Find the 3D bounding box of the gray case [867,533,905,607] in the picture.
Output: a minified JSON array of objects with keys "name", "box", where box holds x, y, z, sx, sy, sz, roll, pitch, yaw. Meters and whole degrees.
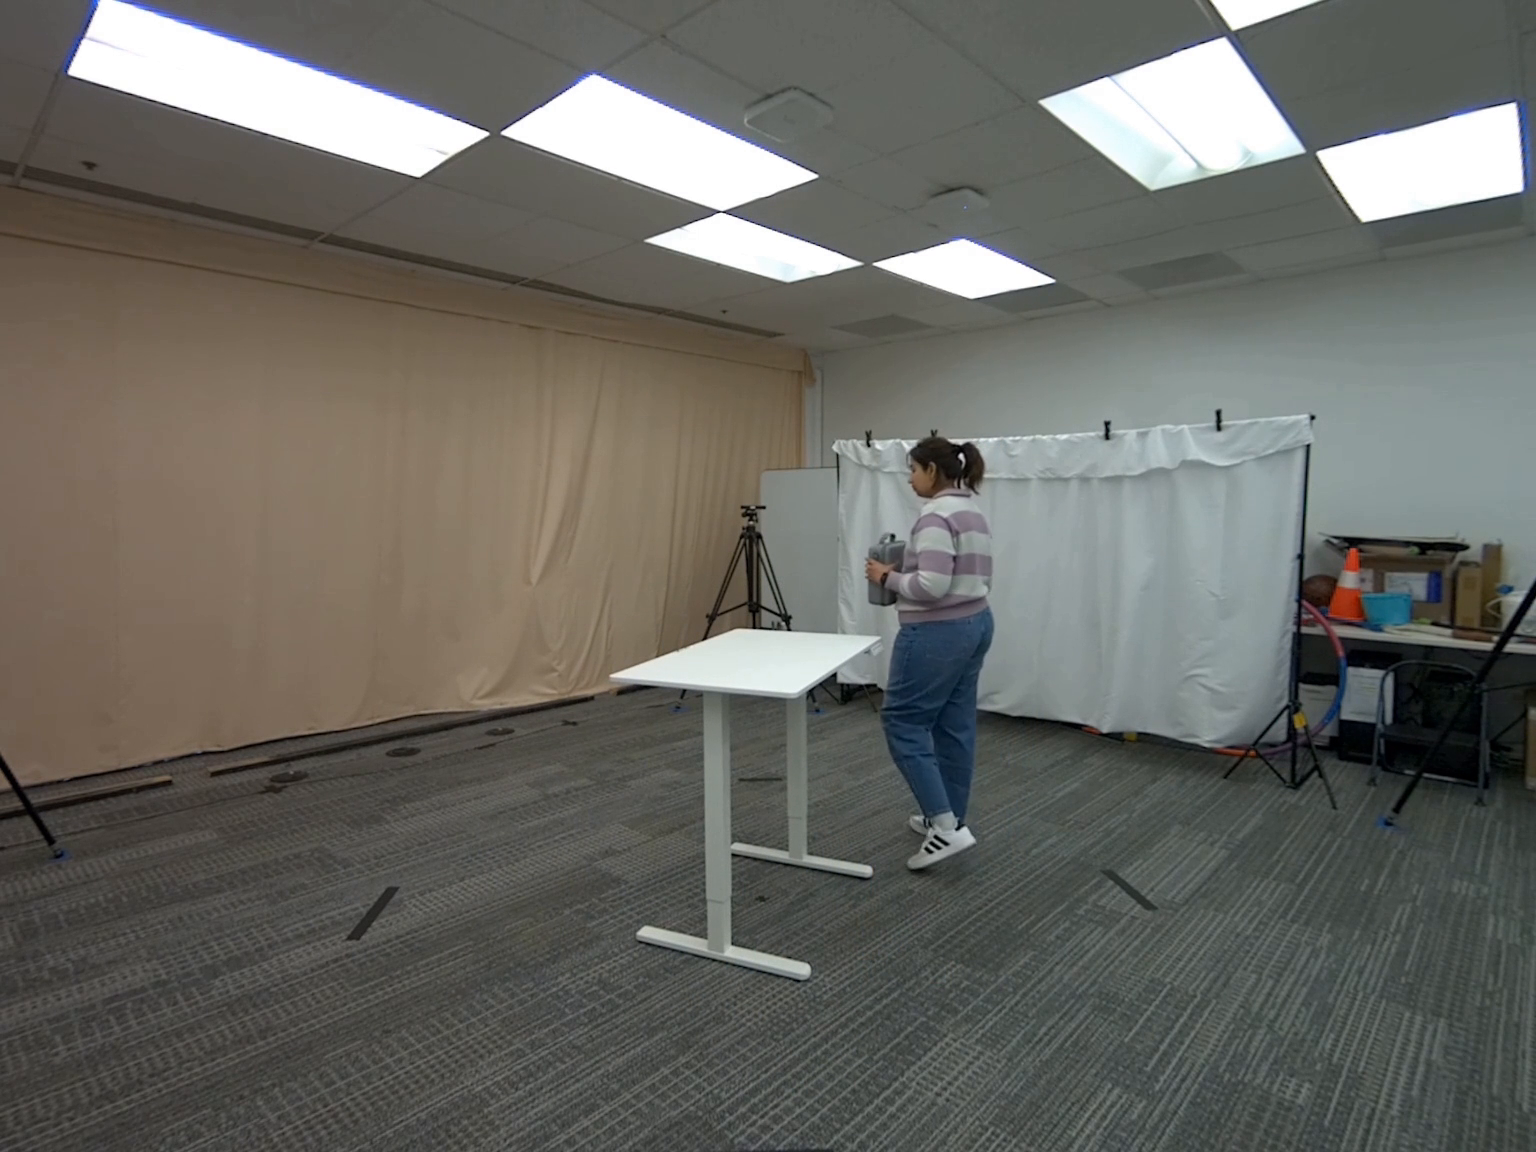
[{"name":"gray case","box":[0.516,-0.015,3.534,0.107,0.260,0.251,0,6,26]}]
